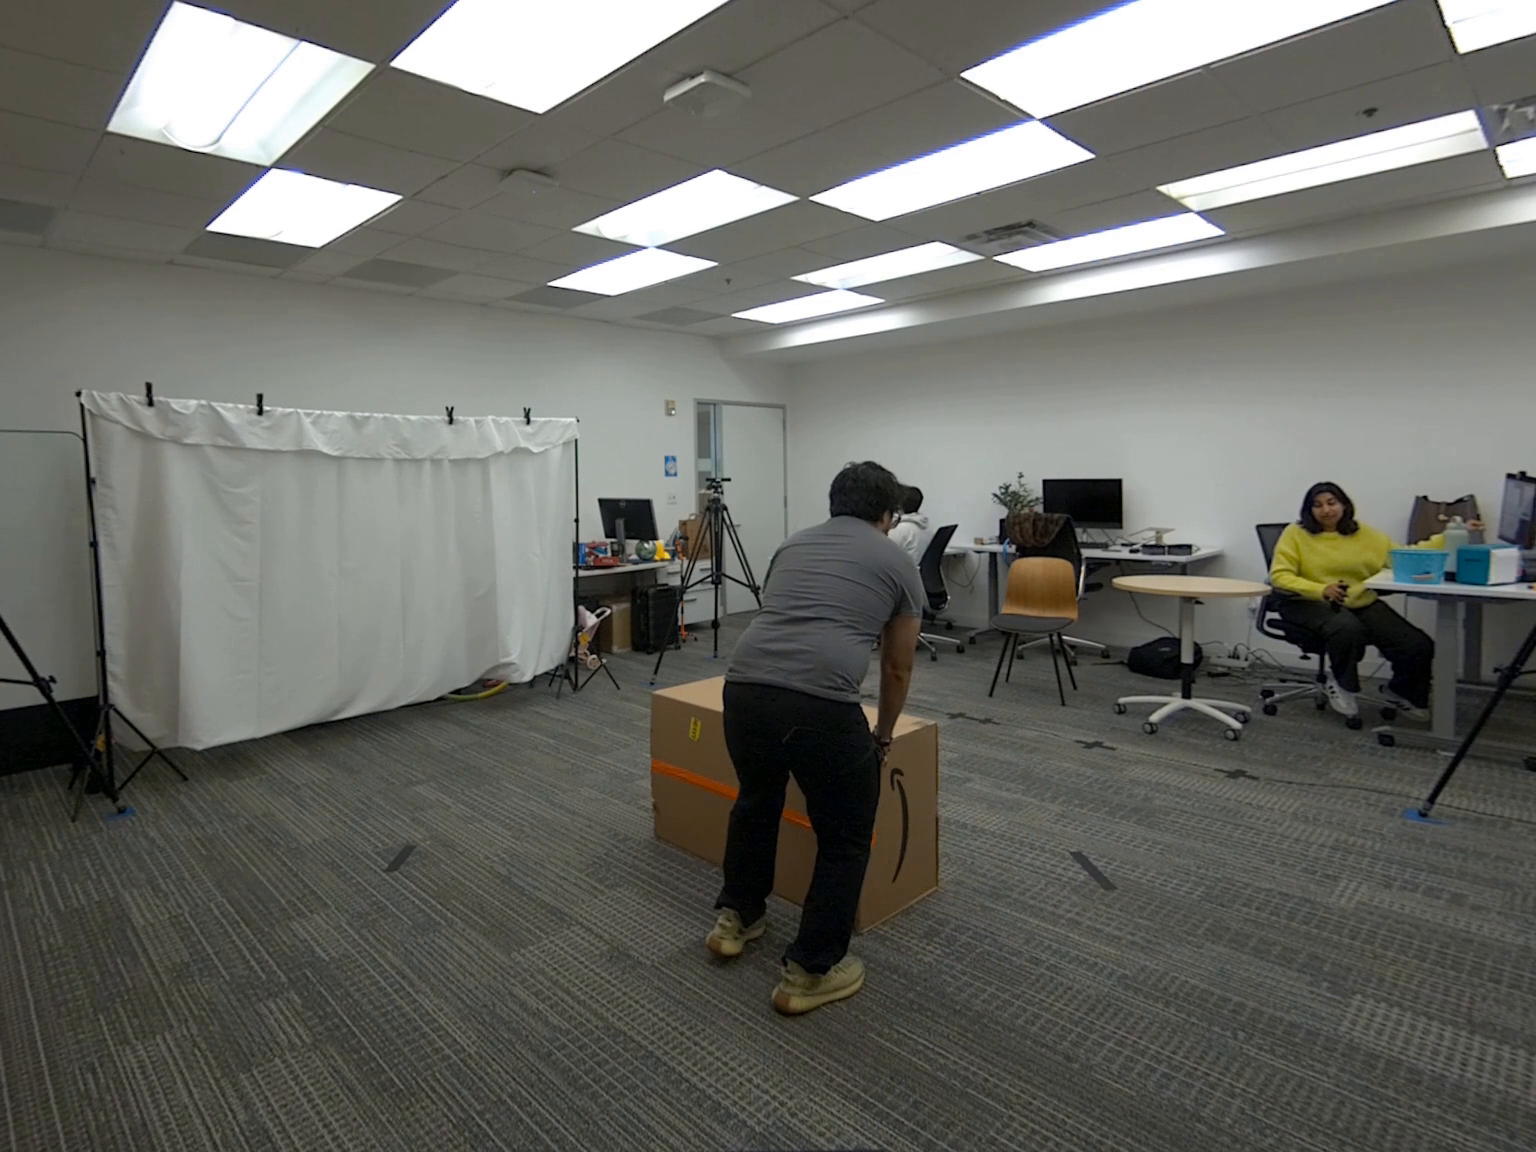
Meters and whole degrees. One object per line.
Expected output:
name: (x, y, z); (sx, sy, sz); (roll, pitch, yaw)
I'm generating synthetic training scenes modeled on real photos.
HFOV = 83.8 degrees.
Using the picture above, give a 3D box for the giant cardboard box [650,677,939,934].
giant cardboard box: (0.060, 0.756, 3.104); (0.415, 0.575, 1.058); (-5, 7, -44)
